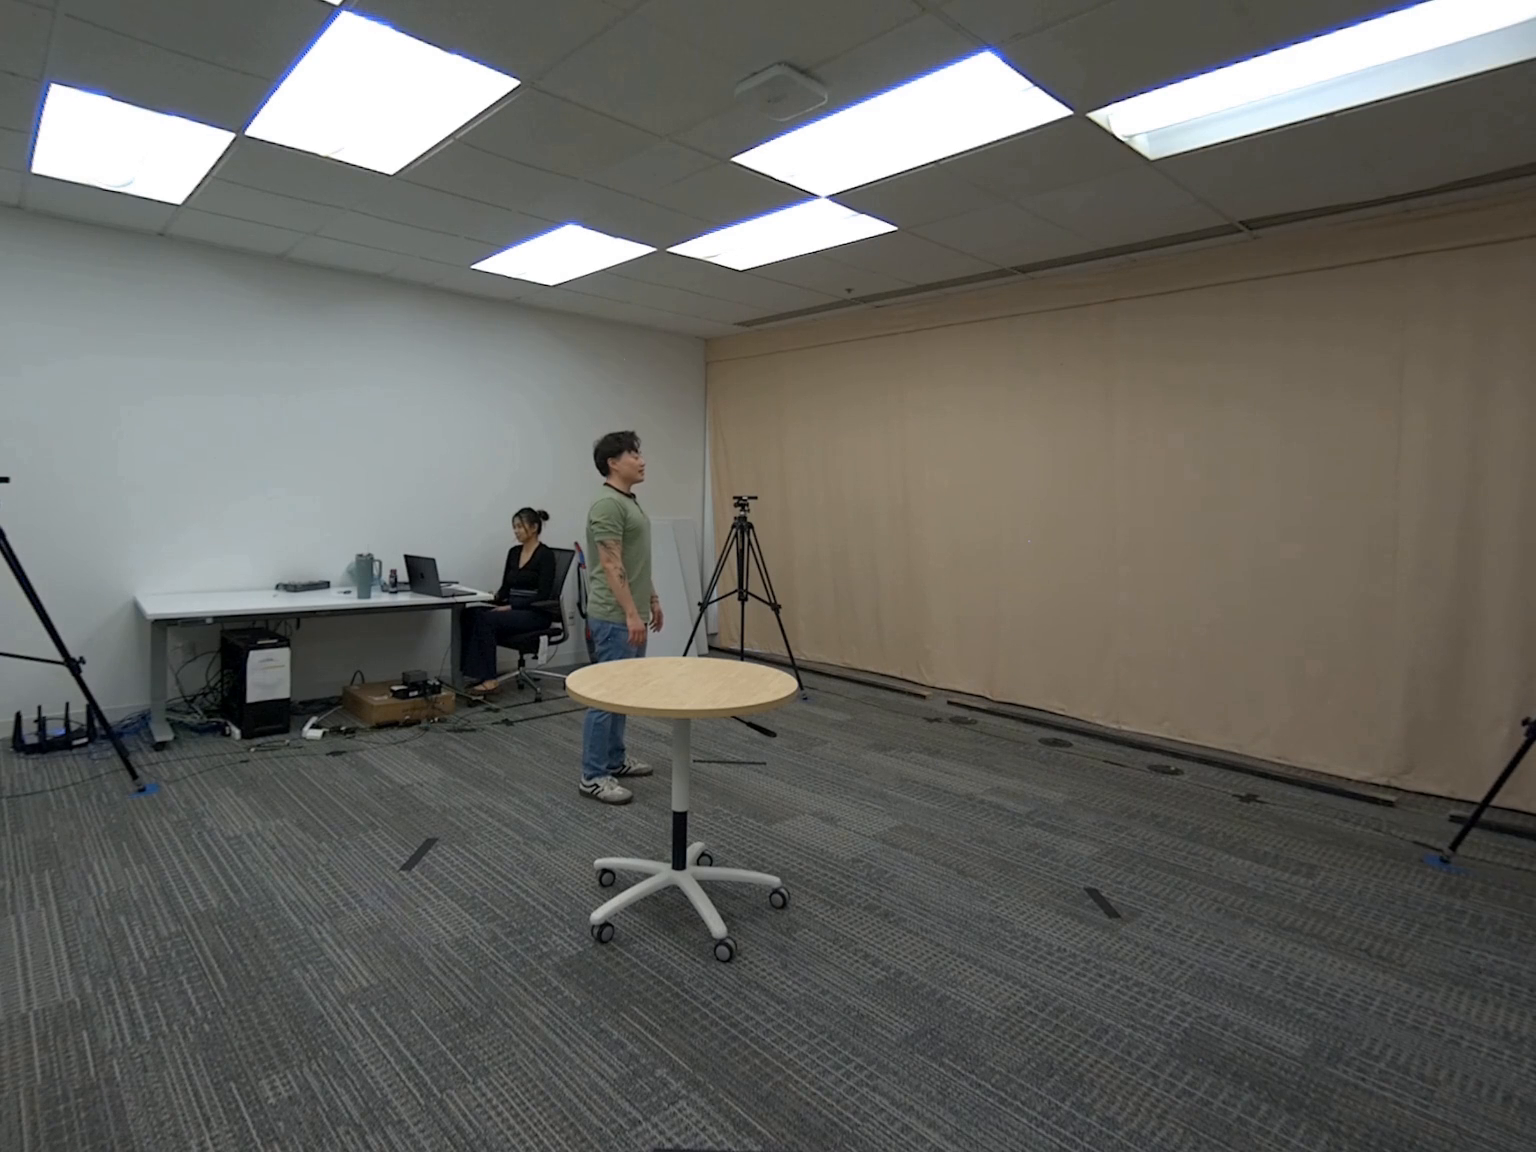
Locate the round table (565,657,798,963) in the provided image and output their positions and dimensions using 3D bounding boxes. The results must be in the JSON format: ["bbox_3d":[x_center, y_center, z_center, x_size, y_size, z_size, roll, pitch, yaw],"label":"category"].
[{"bbox_3d":[-0.298,0.739,2.816,0.763,0.792,0.767,1,4,-1],"label":"round table"}]
